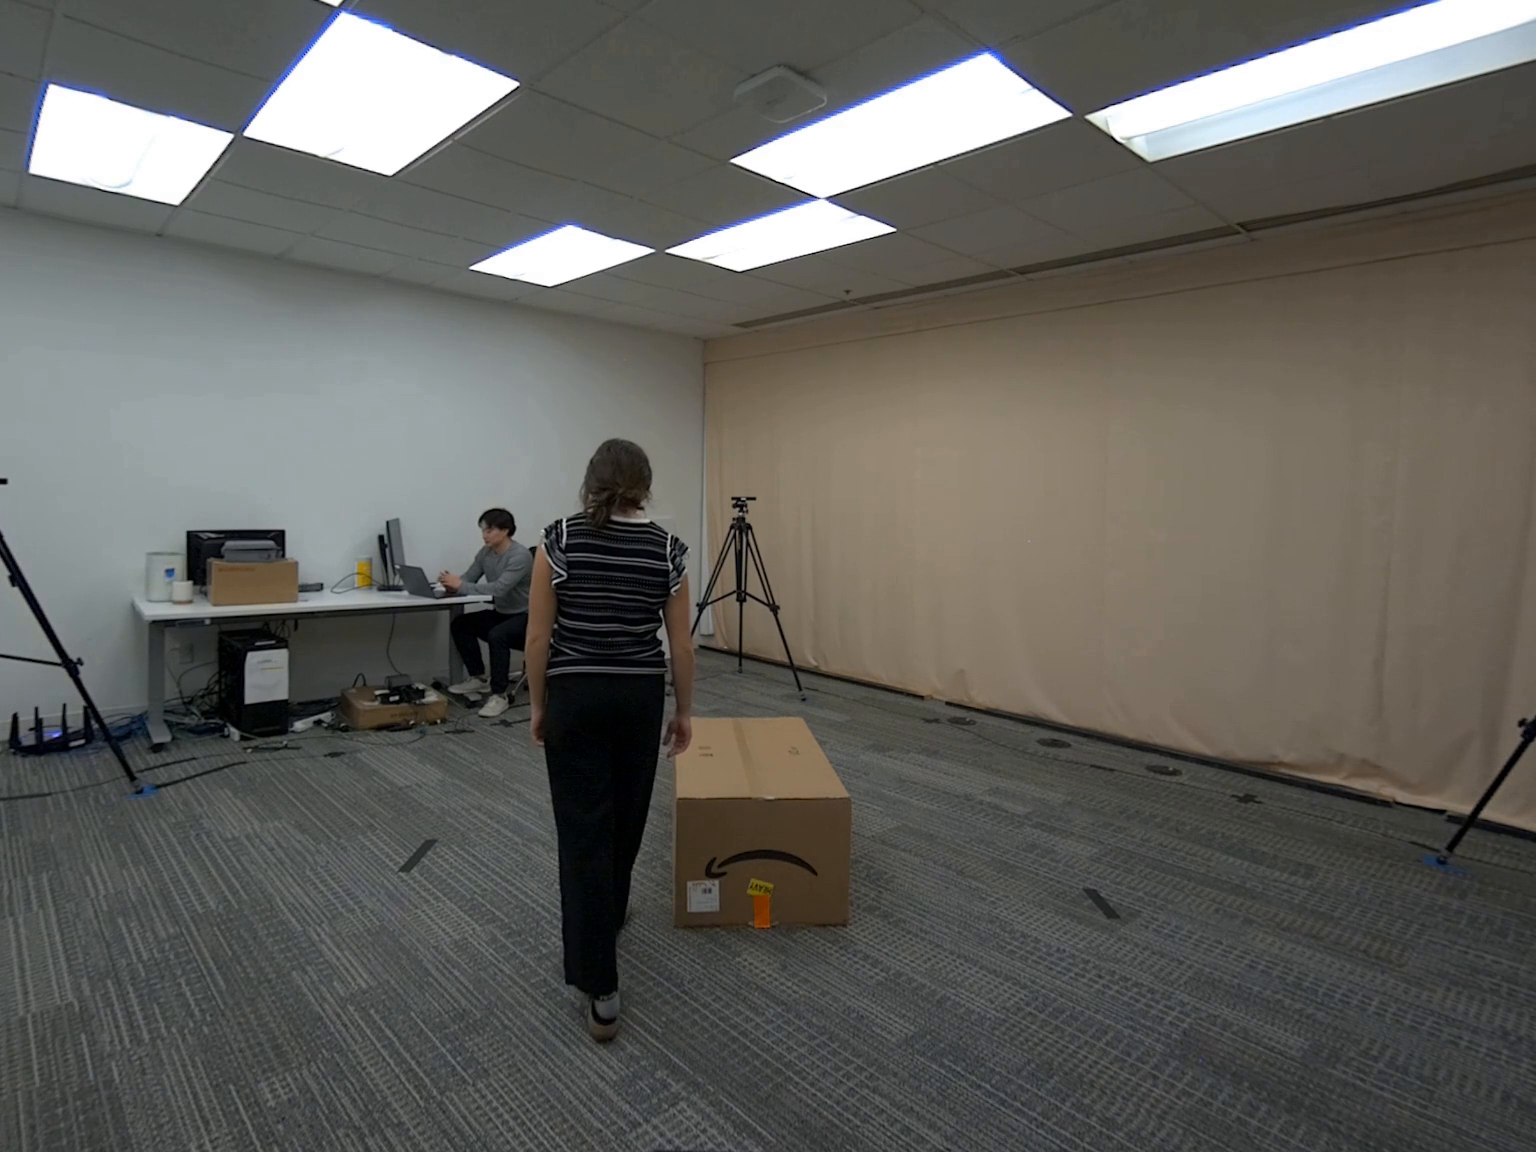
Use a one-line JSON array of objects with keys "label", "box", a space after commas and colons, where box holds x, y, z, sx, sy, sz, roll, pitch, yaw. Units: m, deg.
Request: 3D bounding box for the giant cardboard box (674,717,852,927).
[{"label": "giant cardboard box", "box": [-0.079, 0.885, 3.232, 0.575, 0.425, 1.033, 0, 5, -6]}]
